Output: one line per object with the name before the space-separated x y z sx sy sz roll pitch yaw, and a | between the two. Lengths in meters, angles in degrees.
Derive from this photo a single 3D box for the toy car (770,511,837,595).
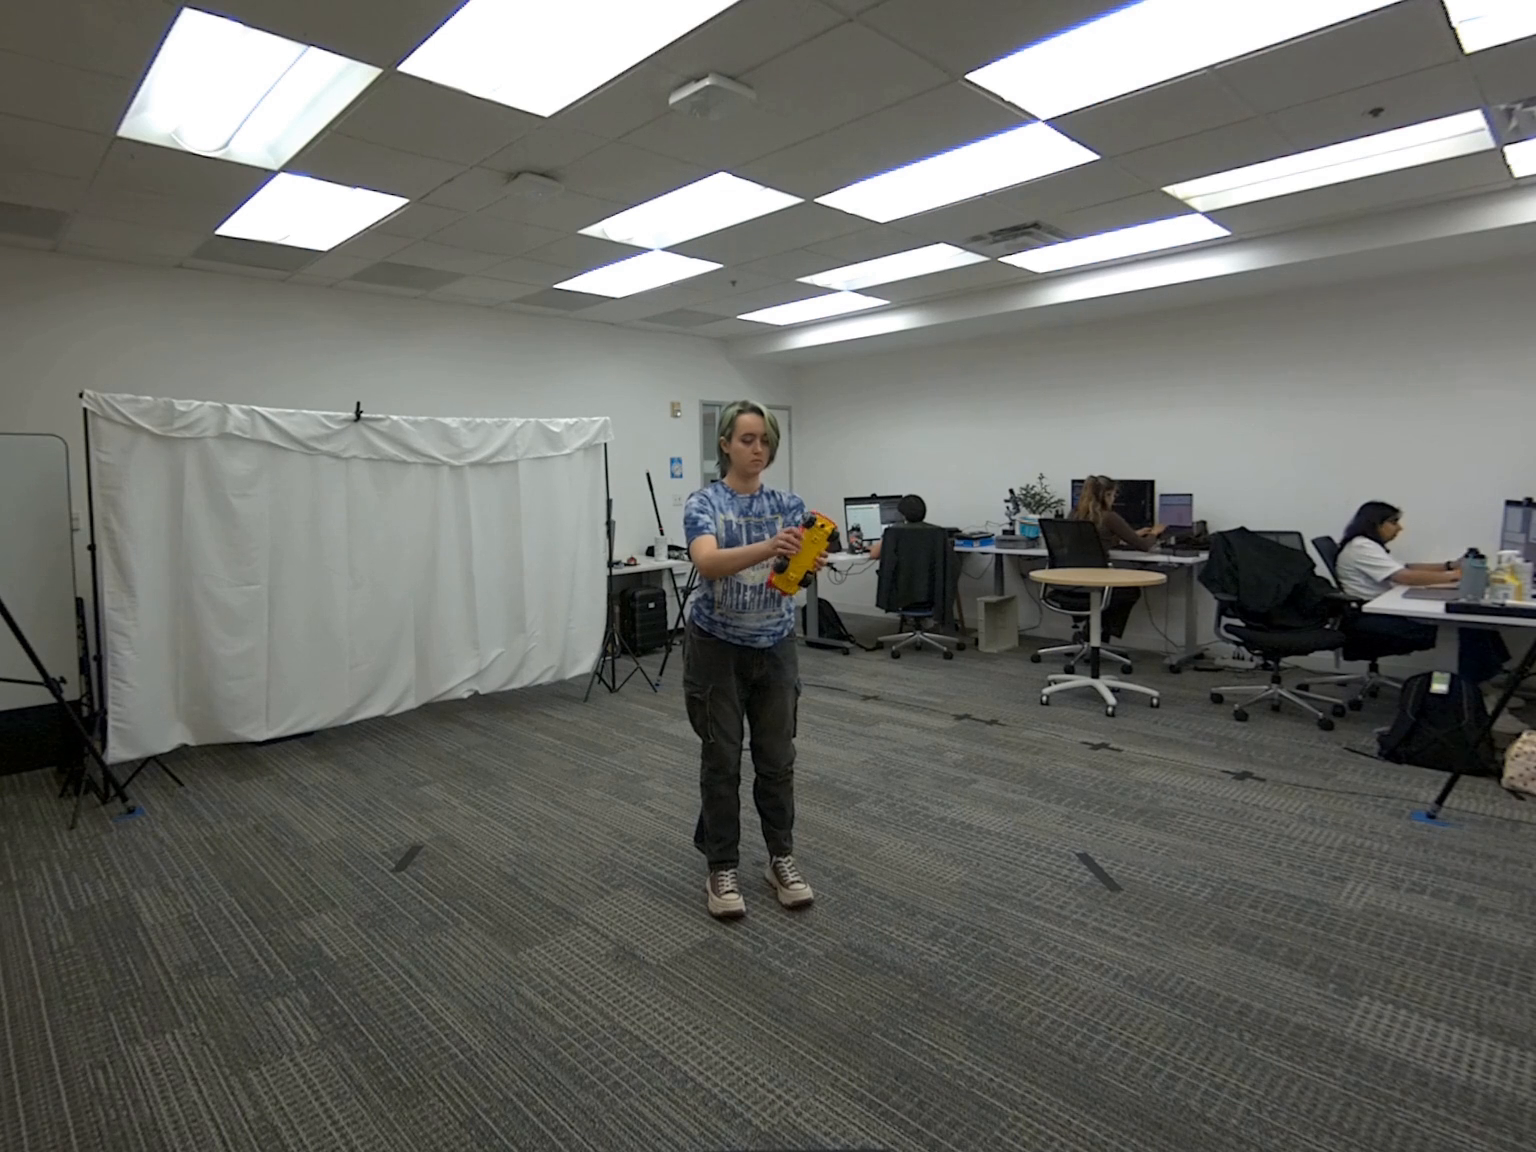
toy car | 0.094 -0.054 2.381 0.127 0.254 0.085 31 12 -20
